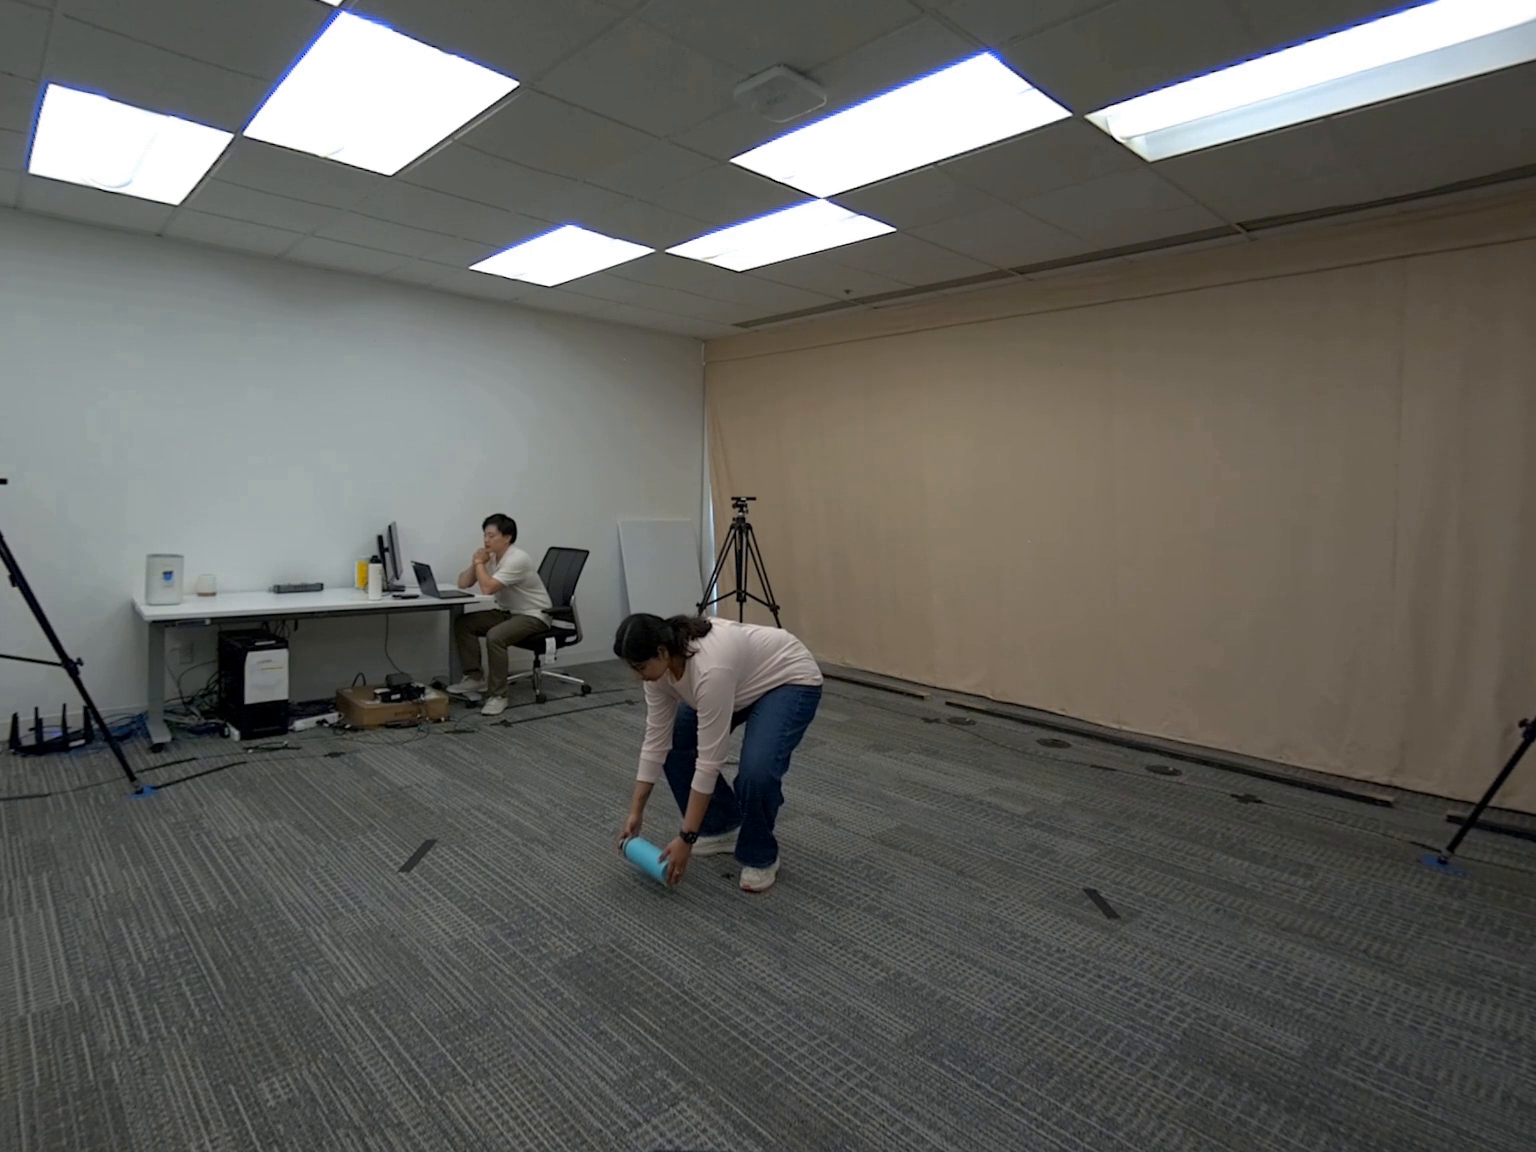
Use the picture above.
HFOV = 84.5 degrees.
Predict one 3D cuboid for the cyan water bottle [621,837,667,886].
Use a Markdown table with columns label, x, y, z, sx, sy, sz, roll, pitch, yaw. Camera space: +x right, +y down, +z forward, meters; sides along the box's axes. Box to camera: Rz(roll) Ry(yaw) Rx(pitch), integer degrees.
| label | x | y | z | sx | sy | sz | roll | pitch | yaw |
| --- | --- | --- | --- | --- | --- | --- | --- | --- | --- |
| cyan water bottle | -0.433 | 0.993 | 2.987 | 0.090 | 0.092 | 0.291 | -3 | 6 | -43 |
